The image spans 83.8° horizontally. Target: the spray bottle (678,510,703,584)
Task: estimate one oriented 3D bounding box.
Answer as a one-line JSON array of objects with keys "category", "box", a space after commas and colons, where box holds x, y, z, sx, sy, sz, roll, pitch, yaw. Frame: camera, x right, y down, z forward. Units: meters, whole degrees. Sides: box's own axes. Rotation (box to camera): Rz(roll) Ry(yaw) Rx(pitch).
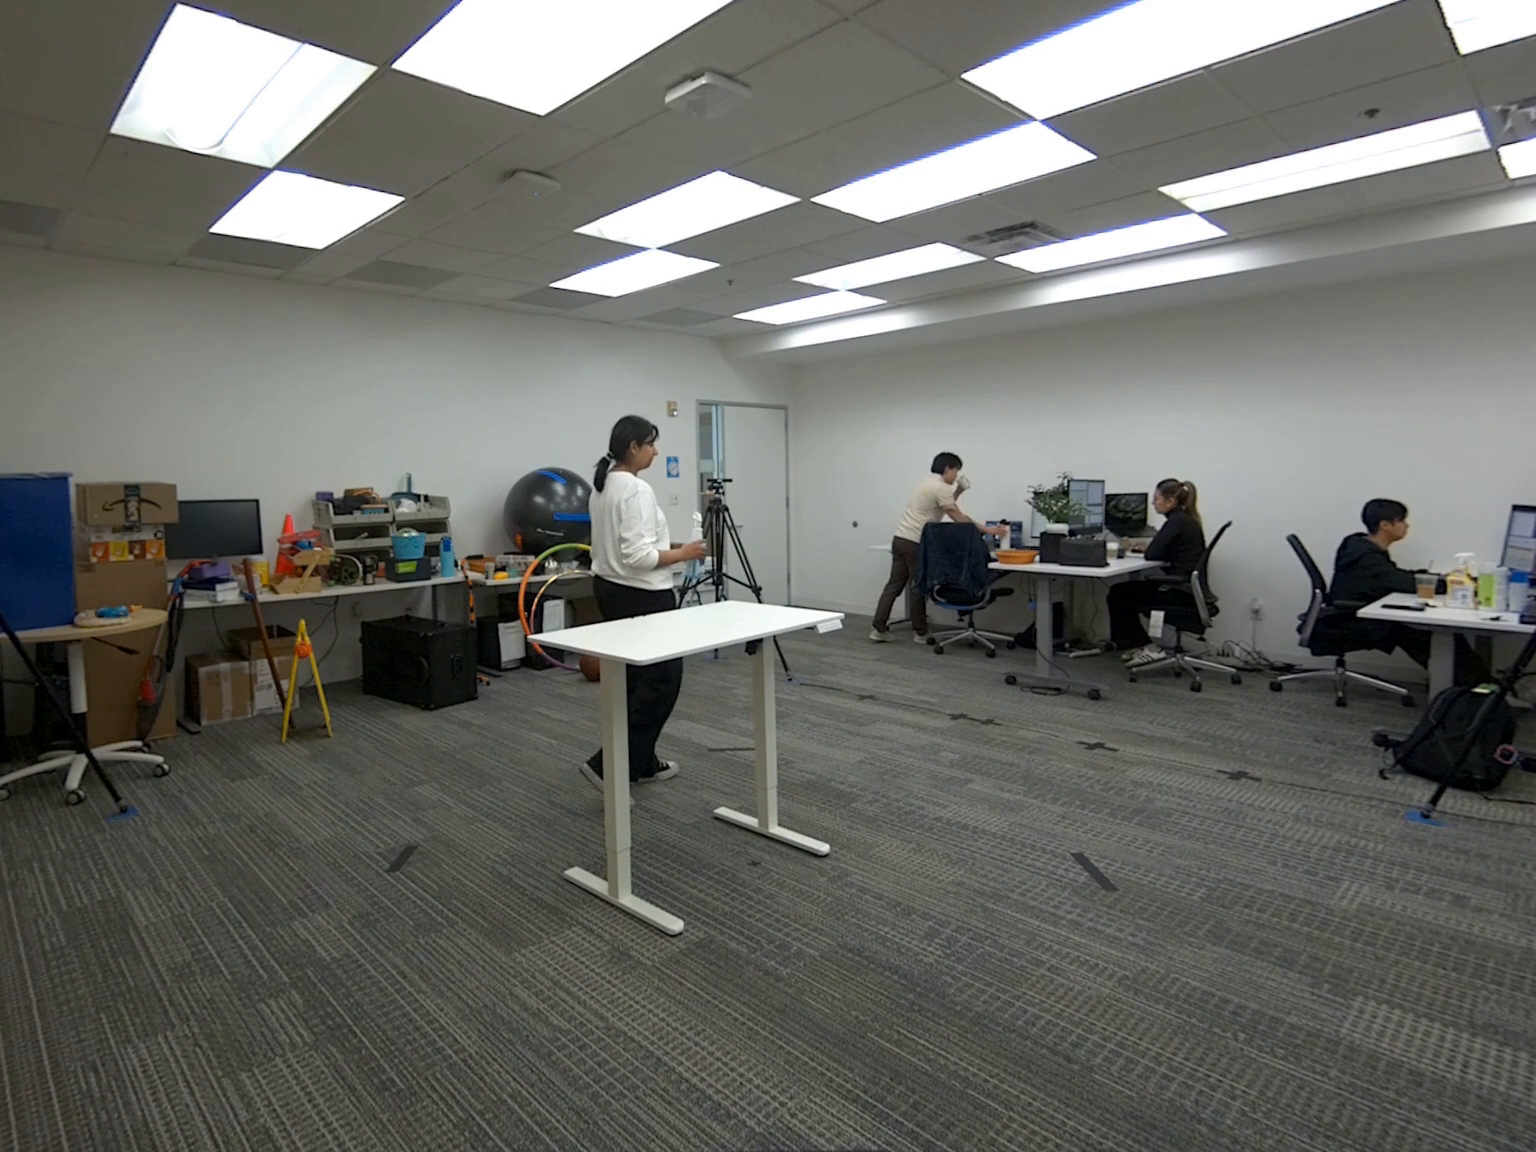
[{"category": "spray bottle", "box": [-0.338, -0.134, 3.878, 0.087, 0.295, 0.090, 1, 10, 4]}]
